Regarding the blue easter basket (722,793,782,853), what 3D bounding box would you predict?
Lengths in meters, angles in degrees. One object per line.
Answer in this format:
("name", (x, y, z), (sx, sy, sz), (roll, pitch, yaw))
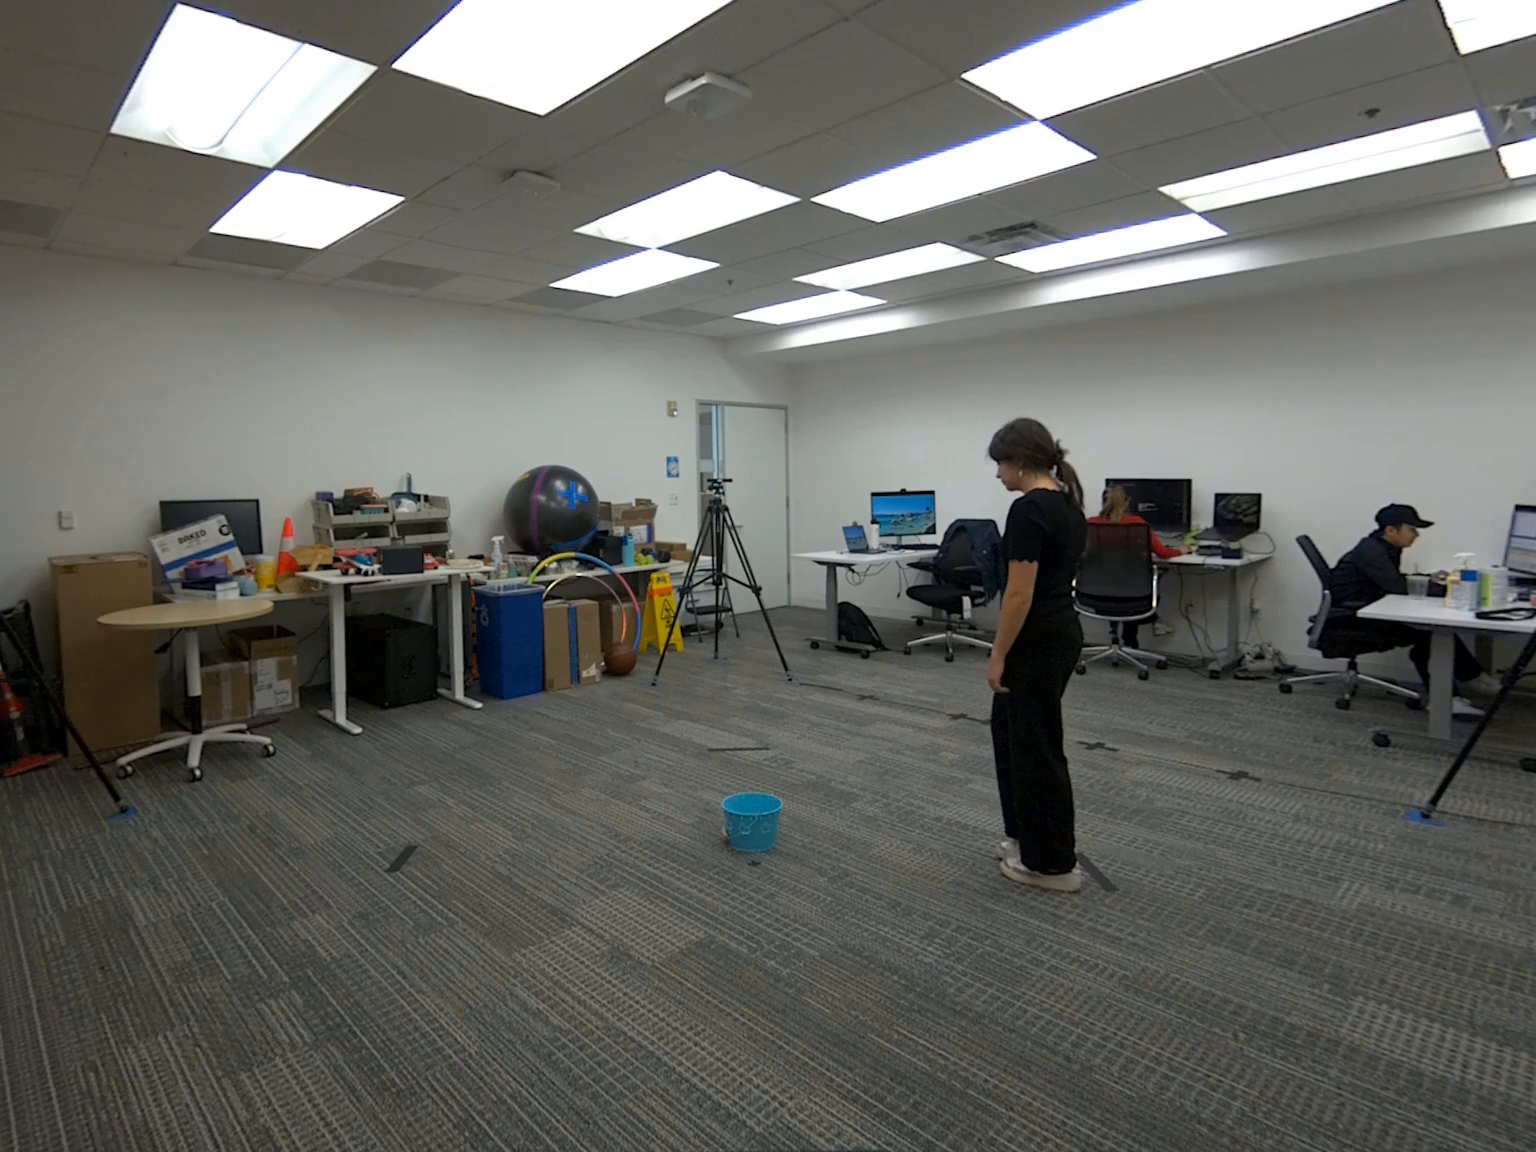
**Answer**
("blue easter basket", (-0.064, 0.947, 3.288), (0.243, 0.155, 0.245), (-1, 5, -2))
